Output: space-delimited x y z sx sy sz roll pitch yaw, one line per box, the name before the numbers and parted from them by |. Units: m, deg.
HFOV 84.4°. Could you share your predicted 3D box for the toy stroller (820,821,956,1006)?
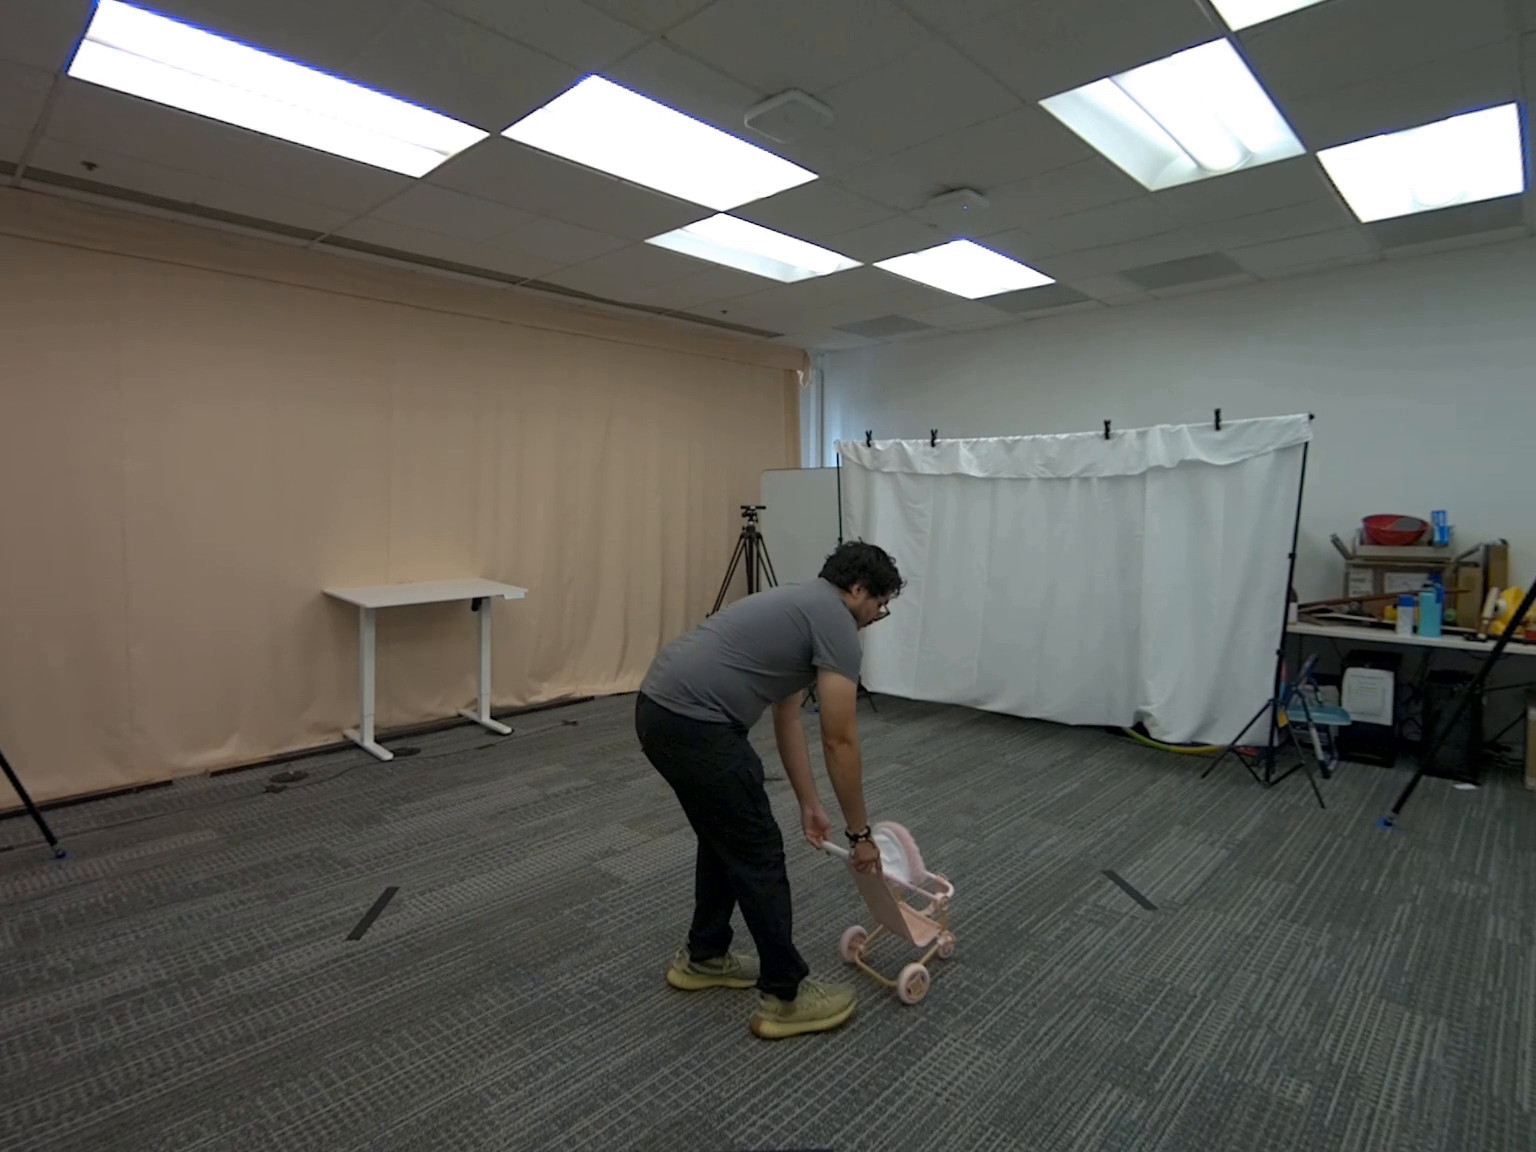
toy stroller | 0.393 0.961 2.483 0.335 0.530 0.289 -19 12 -27
